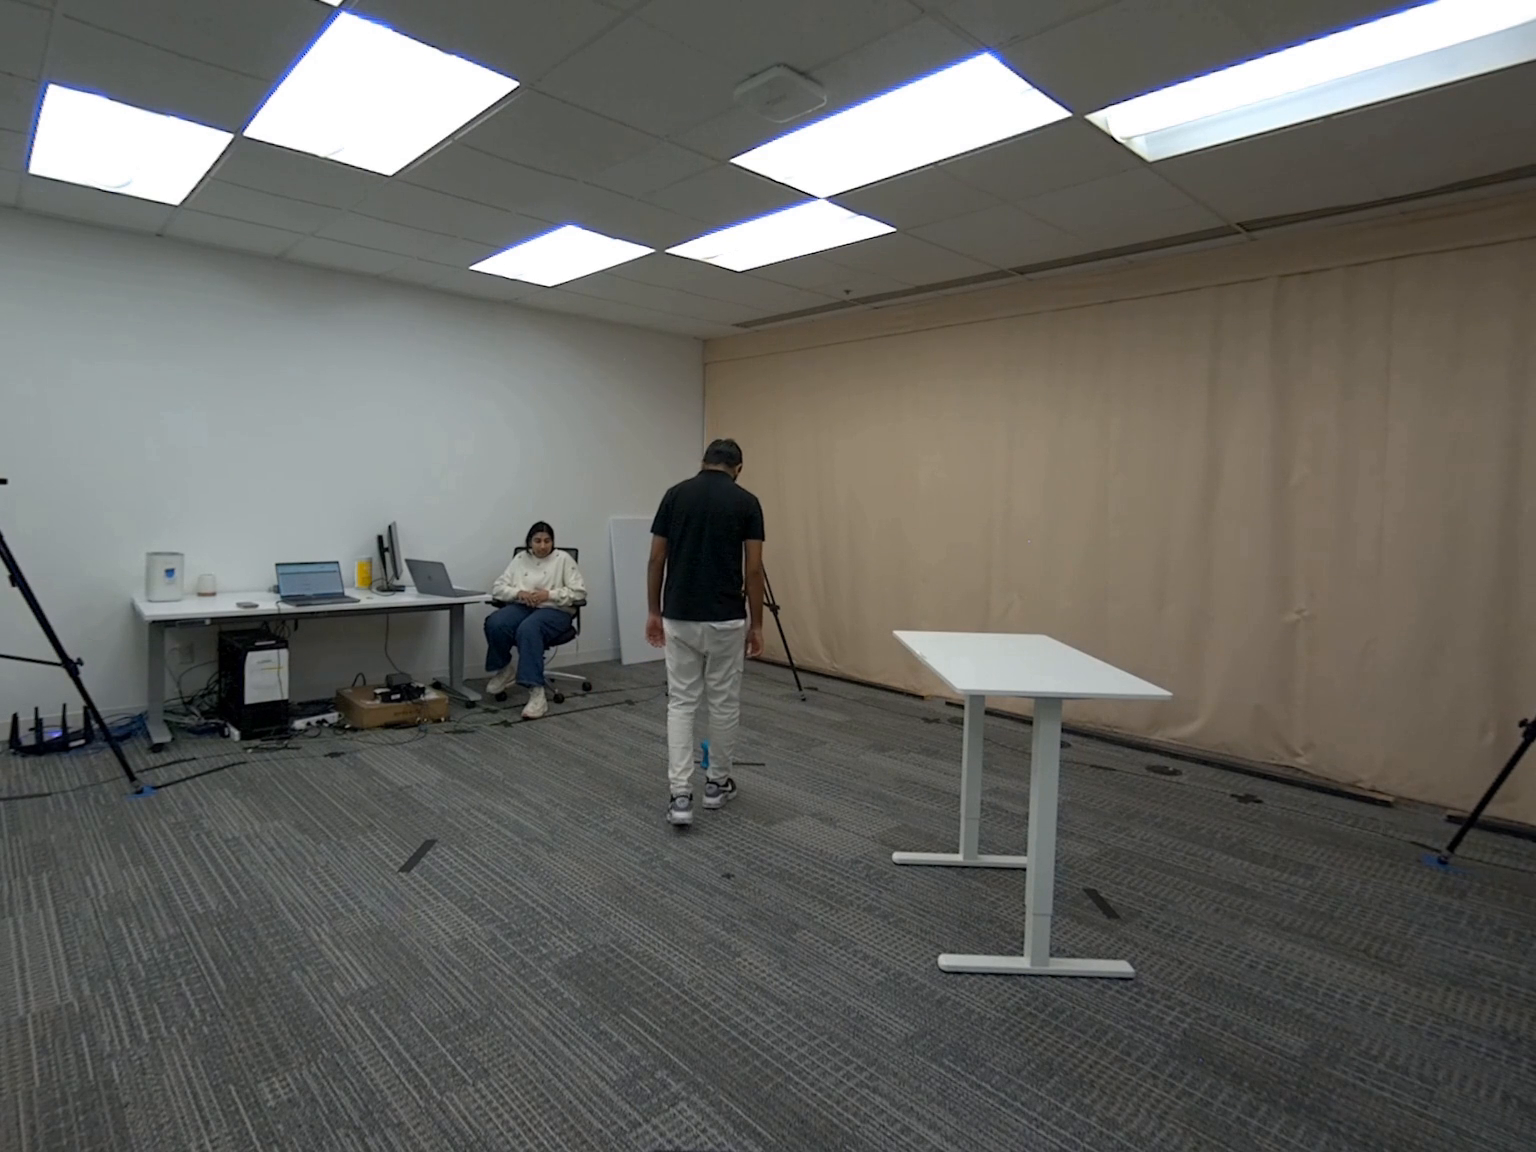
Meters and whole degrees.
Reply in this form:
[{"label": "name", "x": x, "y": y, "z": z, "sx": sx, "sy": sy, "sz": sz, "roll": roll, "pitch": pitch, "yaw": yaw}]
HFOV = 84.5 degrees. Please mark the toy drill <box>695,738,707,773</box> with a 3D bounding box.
[{"label": "toy drill", "x": -0.306, "y": 0.929, "z": 4.340, "sx": 0.060, "sy": 0.146, "sz": 0.174, "roll": -3, "pitch": 4, "yaw": -38}]
